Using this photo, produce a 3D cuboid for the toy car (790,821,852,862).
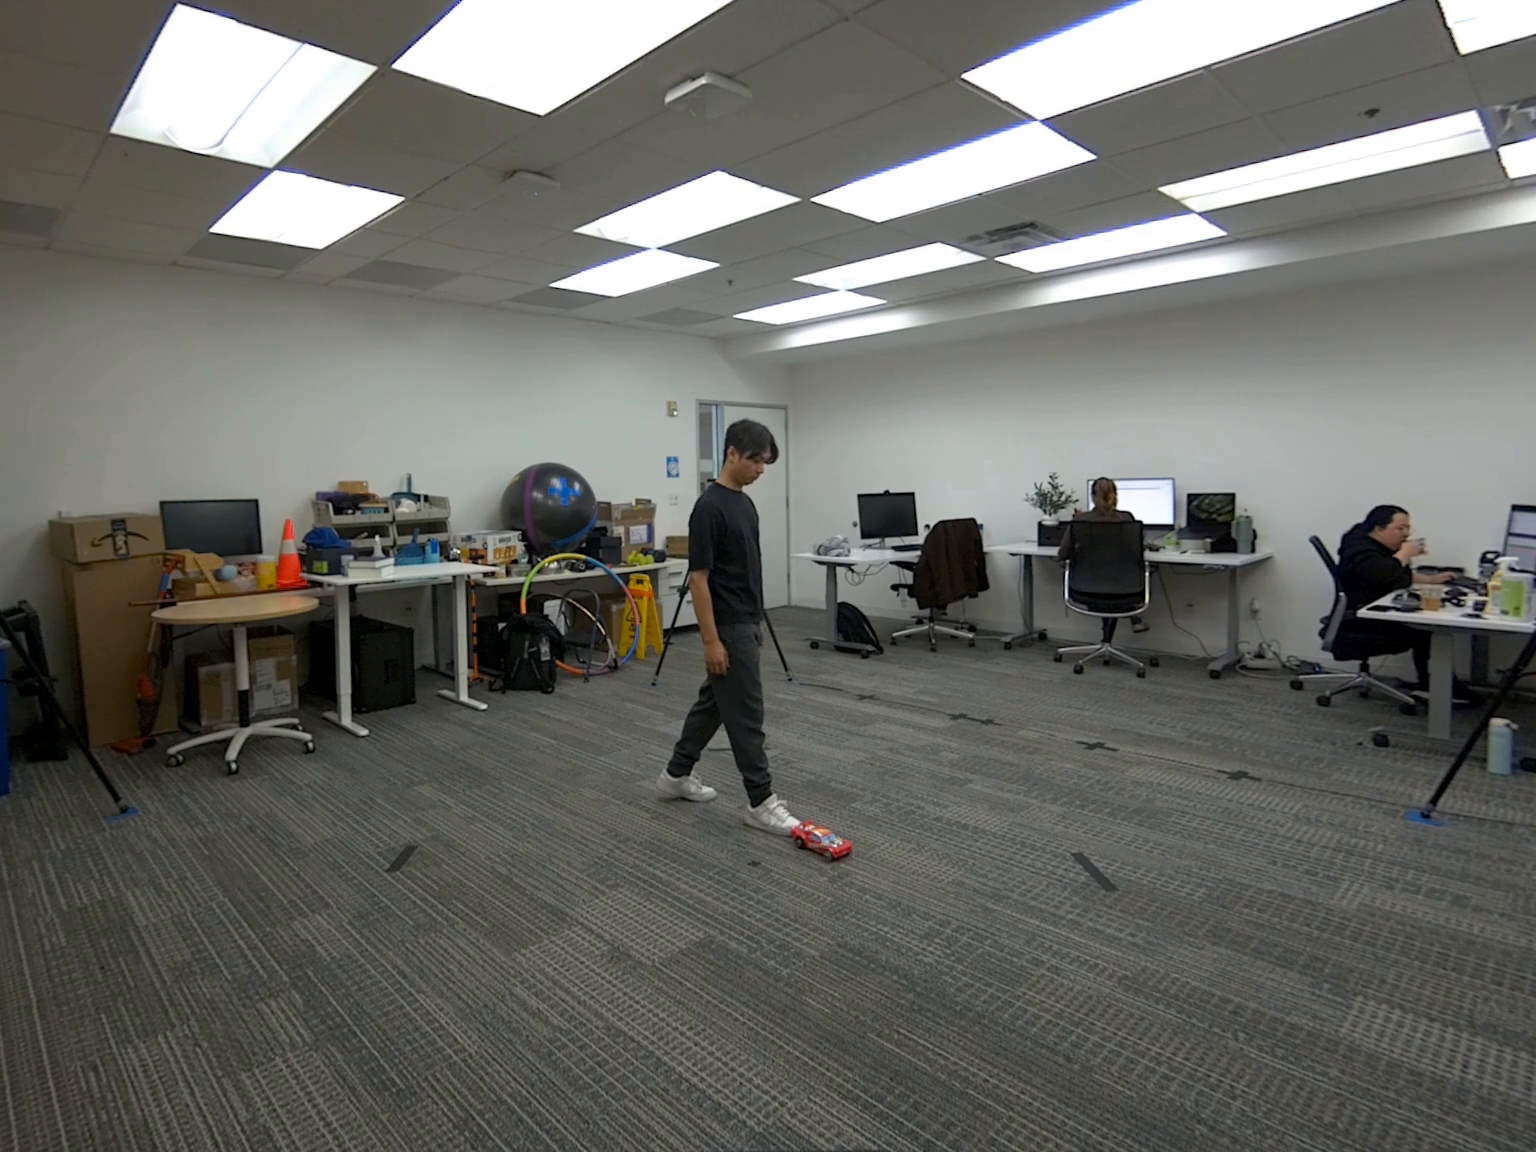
[{"bbox_3d":[0.196,0.995,3.222,0.127,0.082,0.264,-6,18,-40],"label":"toy car"}]
